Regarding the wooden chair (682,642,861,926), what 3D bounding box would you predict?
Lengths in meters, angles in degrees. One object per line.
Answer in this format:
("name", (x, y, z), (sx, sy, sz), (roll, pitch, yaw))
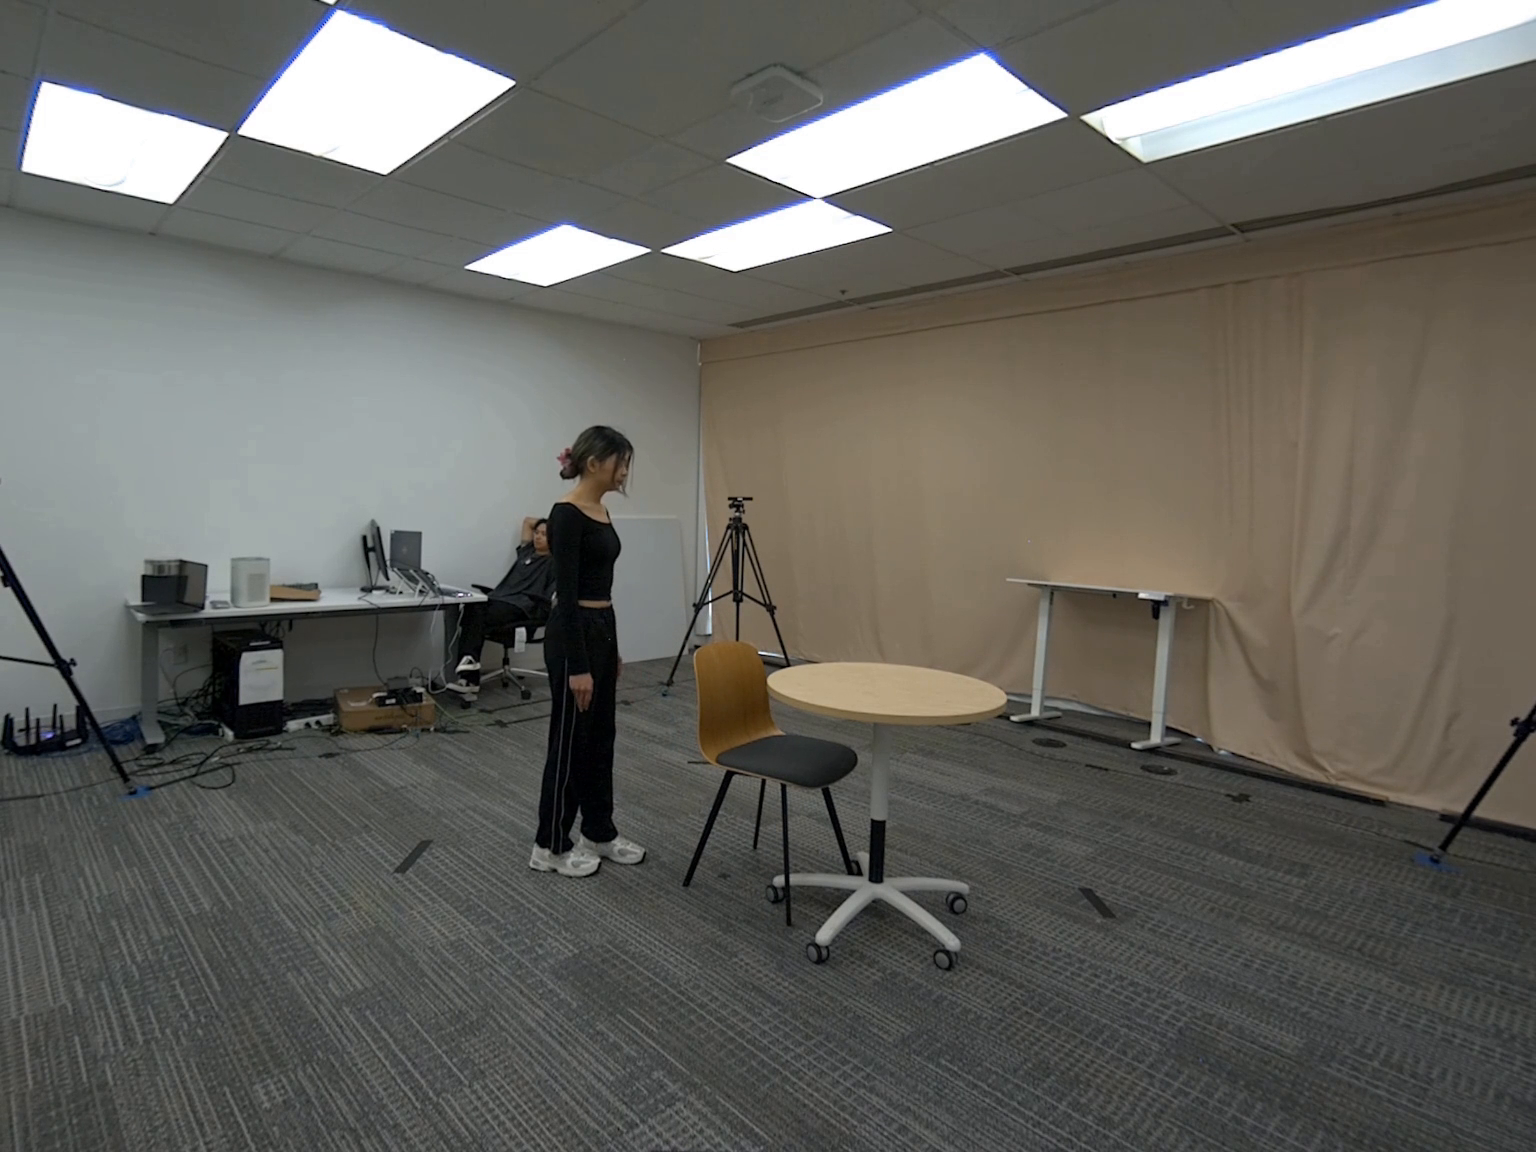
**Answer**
("wooden chair", (0.018, 0.686, 3.025), (0.535, 0.877, 0.467), (-2, 0, 36))
